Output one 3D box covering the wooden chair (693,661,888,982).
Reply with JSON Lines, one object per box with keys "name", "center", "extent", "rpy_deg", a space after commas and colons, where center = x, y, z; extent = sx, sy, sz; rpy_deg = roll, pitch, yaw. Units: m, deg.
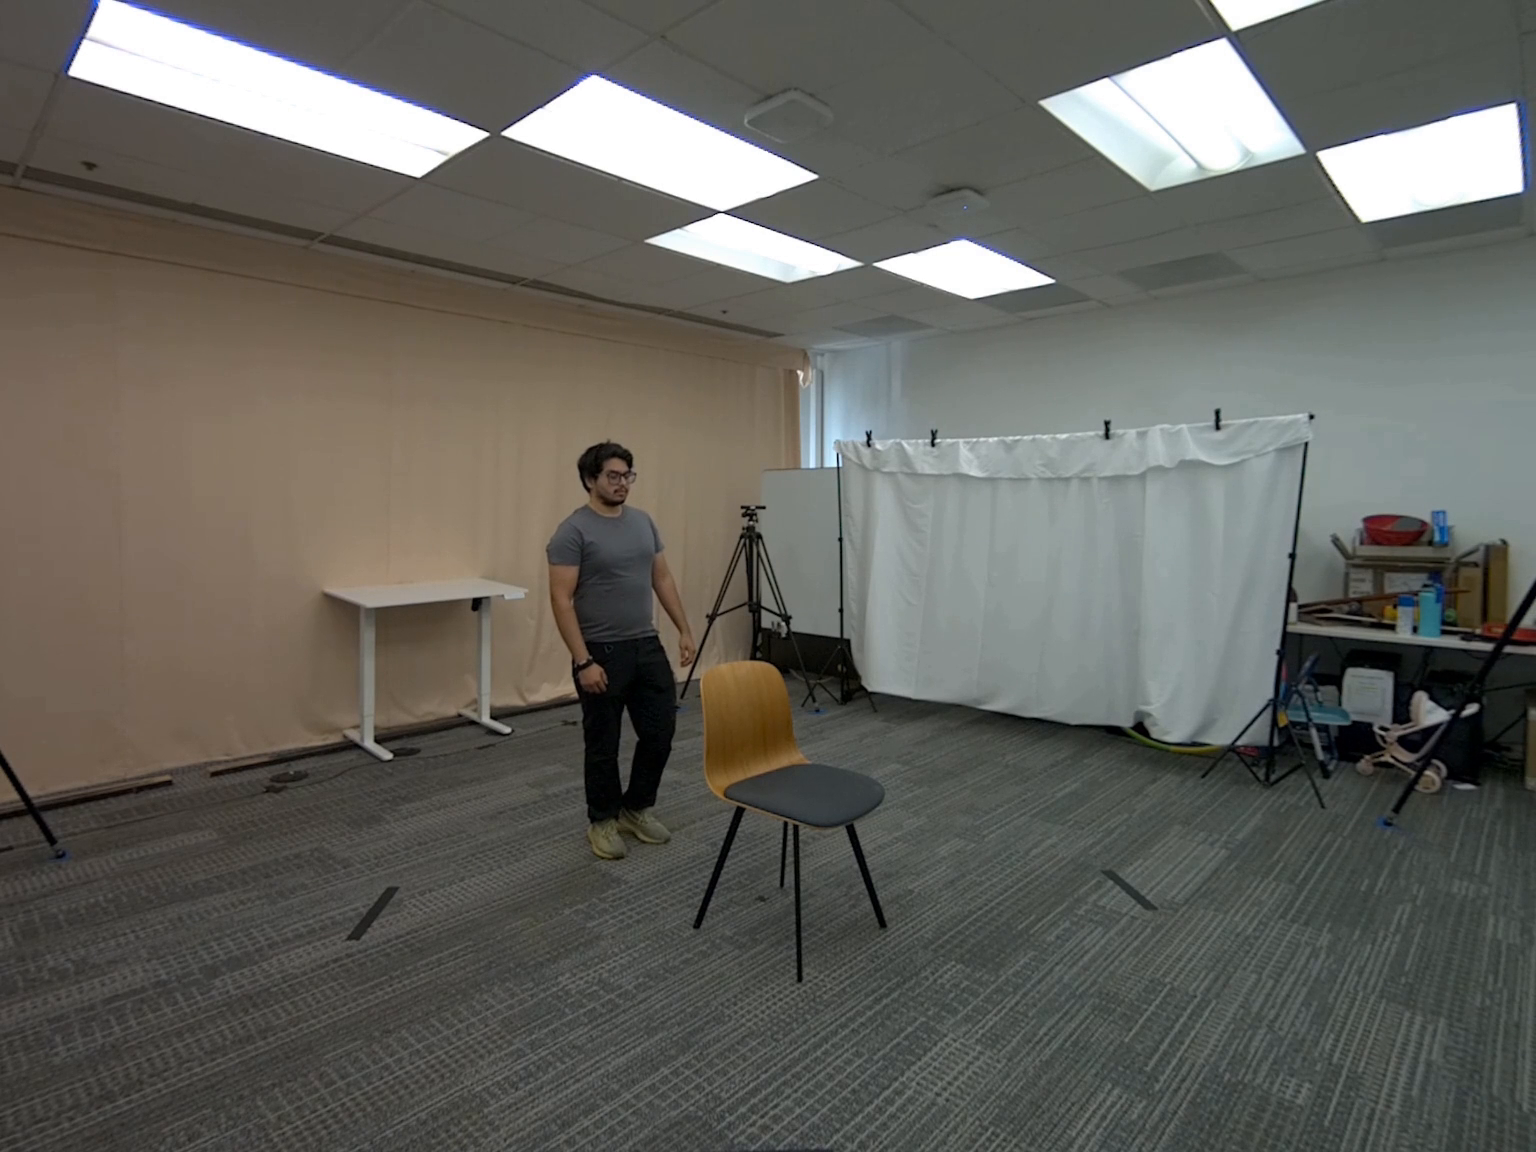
{"name": "wooden chair", "center": [0.084, 0.735, 2.739], "extent": [0.539, 0.877, 0.463], "rpy_deg": [-3, 0, 43]}
